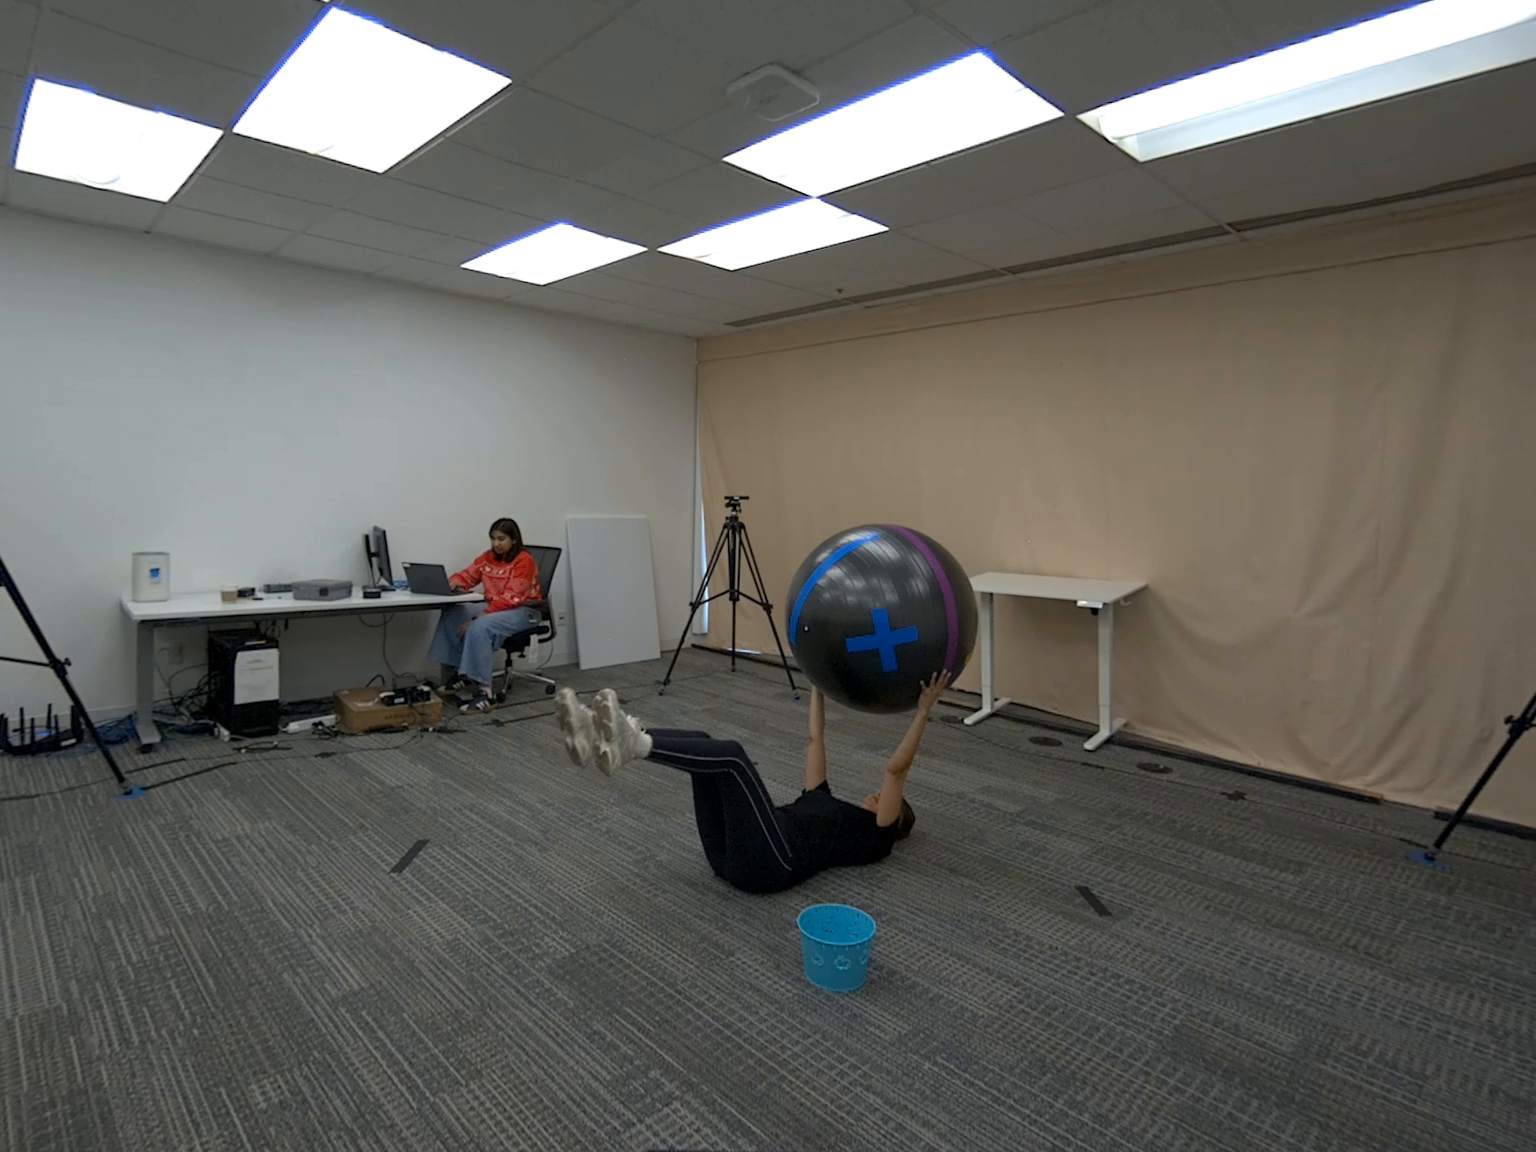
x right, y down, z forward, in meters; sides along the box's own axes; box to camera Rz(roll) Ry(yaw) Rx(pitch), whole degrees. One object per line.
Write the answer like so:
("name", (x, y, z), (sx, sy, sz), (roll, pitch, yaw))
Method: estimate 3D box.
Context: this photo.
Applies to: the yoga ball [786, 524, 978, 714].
("yoga ball", (0.441, 0.172, 3.368), (0.757, 0.754, 0.762), (0, 7, -1))
